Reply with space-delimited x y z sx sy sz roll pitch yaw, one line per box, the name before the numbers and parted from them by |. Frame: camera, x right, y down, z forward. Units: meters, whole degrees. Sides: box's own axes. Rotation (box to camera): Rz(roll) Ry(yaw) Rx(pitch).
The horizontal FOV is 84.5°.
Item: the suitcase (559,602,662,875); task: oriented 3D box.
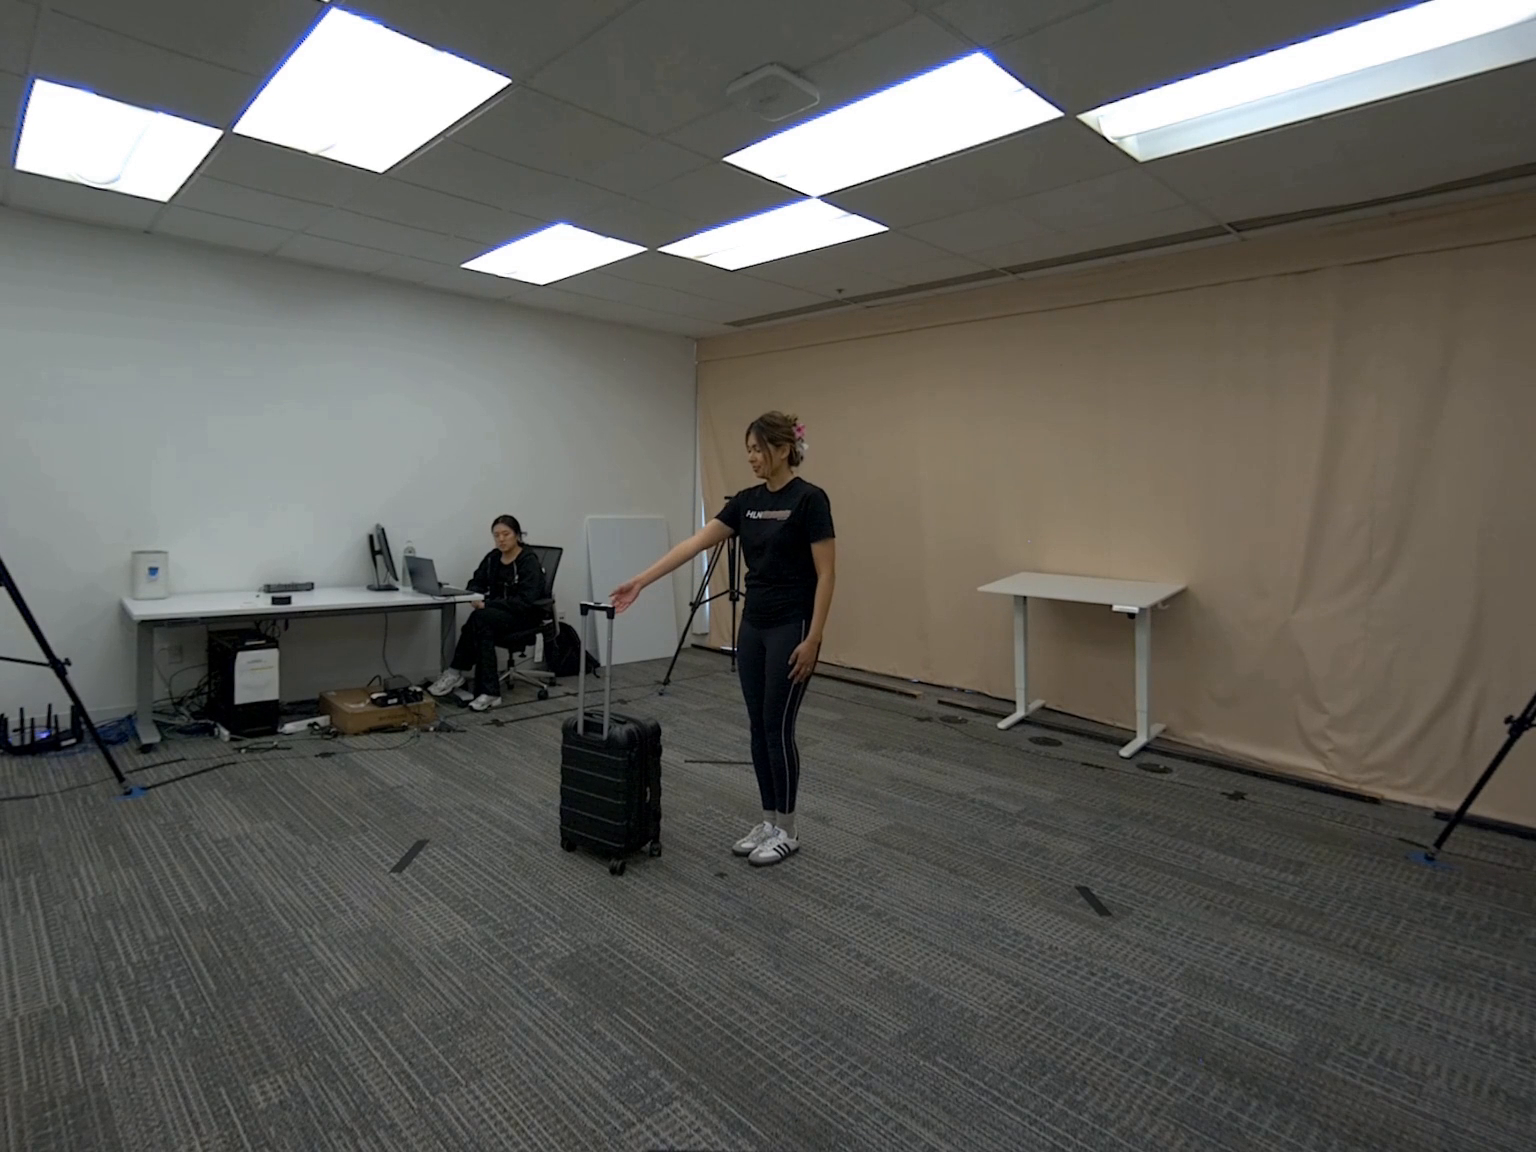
suitcase | -0.616 0.605 3.258 0.392 0.978 0.251 2 1 32
